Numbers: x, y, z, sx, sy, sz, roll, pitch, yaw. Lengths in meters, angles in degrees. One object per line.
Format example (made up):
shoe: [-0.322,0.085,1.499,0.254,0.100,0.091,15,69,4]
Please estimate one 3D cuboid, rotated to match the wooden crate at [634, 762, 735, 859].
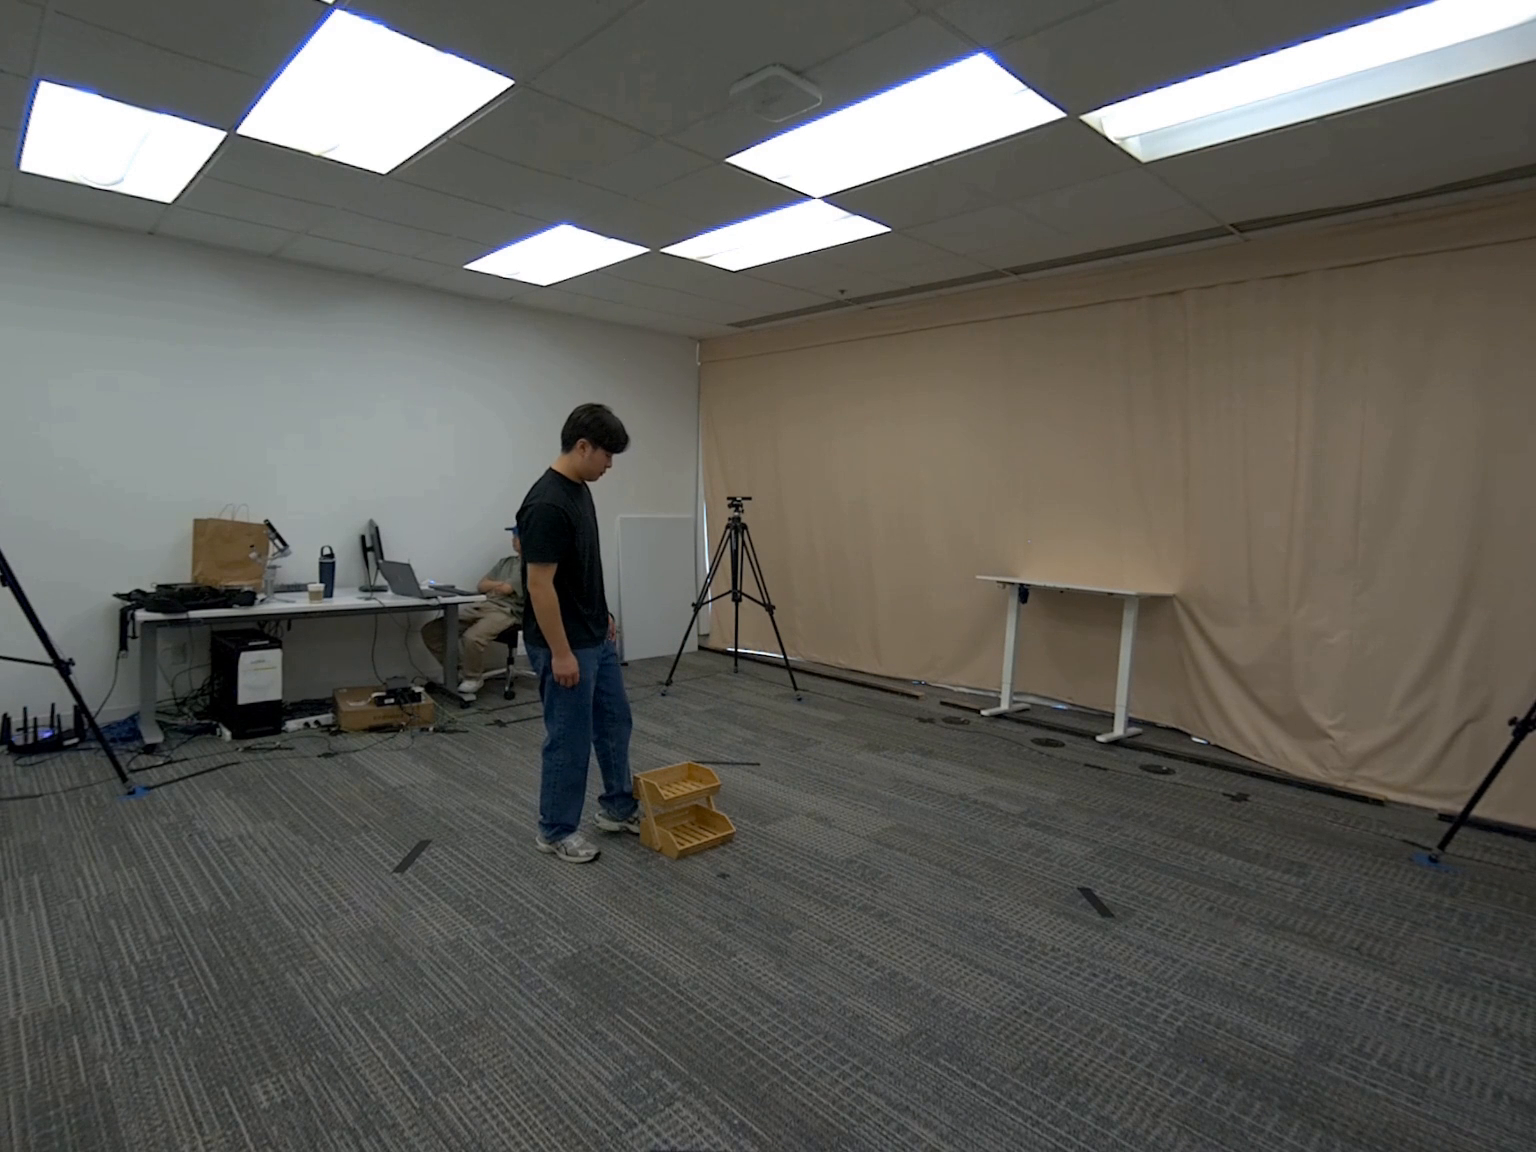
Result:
wooden crate: [-0.344,0.941,3.419,0.317,0.273,0.309,-2,4,-45]
